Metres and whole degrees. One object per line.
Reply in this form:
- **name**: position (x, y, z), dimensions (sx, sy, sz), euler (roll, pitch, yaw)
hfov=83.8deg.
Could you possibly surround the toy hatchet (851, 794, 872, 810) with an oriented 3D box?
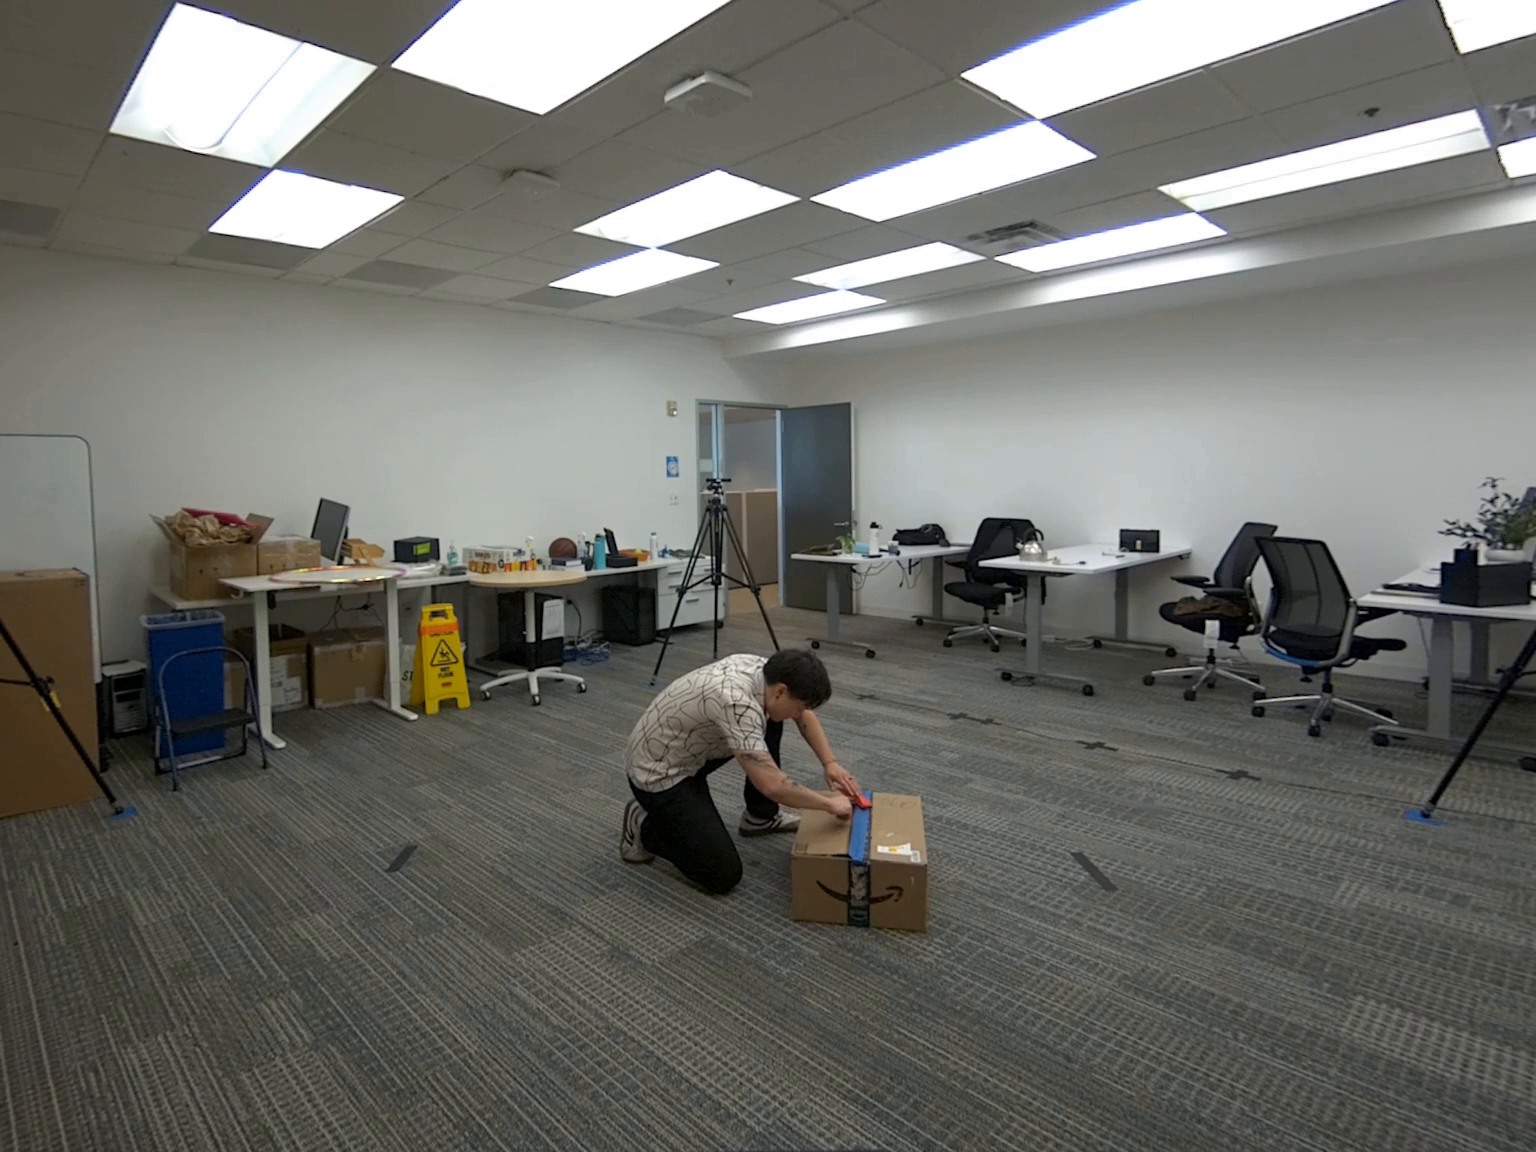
- **toy hatchet**: position (0.296, 0.785, 2.999), dimensions (0.132, 0.029, 0.270), euler (18, 8, 3)
